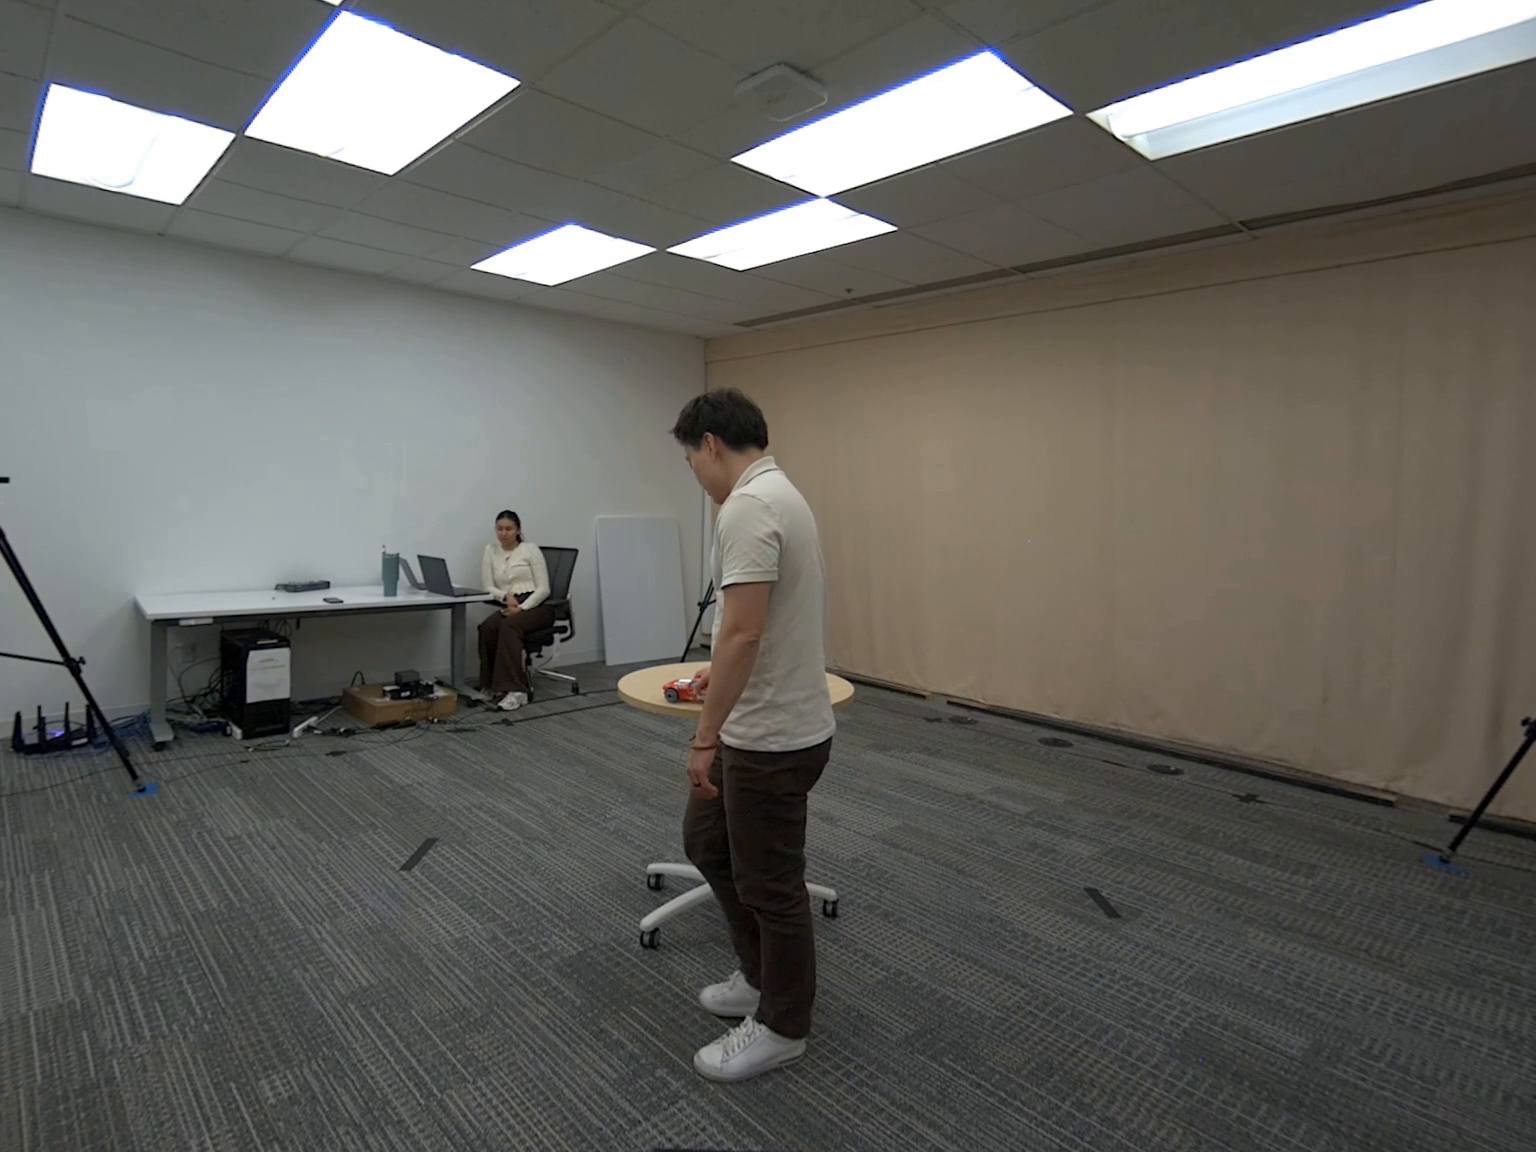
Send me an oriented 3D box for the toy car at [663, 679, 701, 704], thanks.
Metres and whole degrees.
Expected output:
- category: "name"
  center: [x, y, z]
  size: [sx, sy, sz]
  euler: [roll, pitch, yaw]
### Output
- category: "toy car"
  center: [-0.176, 0.340, 2.474]
  size: [0.257, 0.083, 0.129]
  euler: [-12, 1, 17]
